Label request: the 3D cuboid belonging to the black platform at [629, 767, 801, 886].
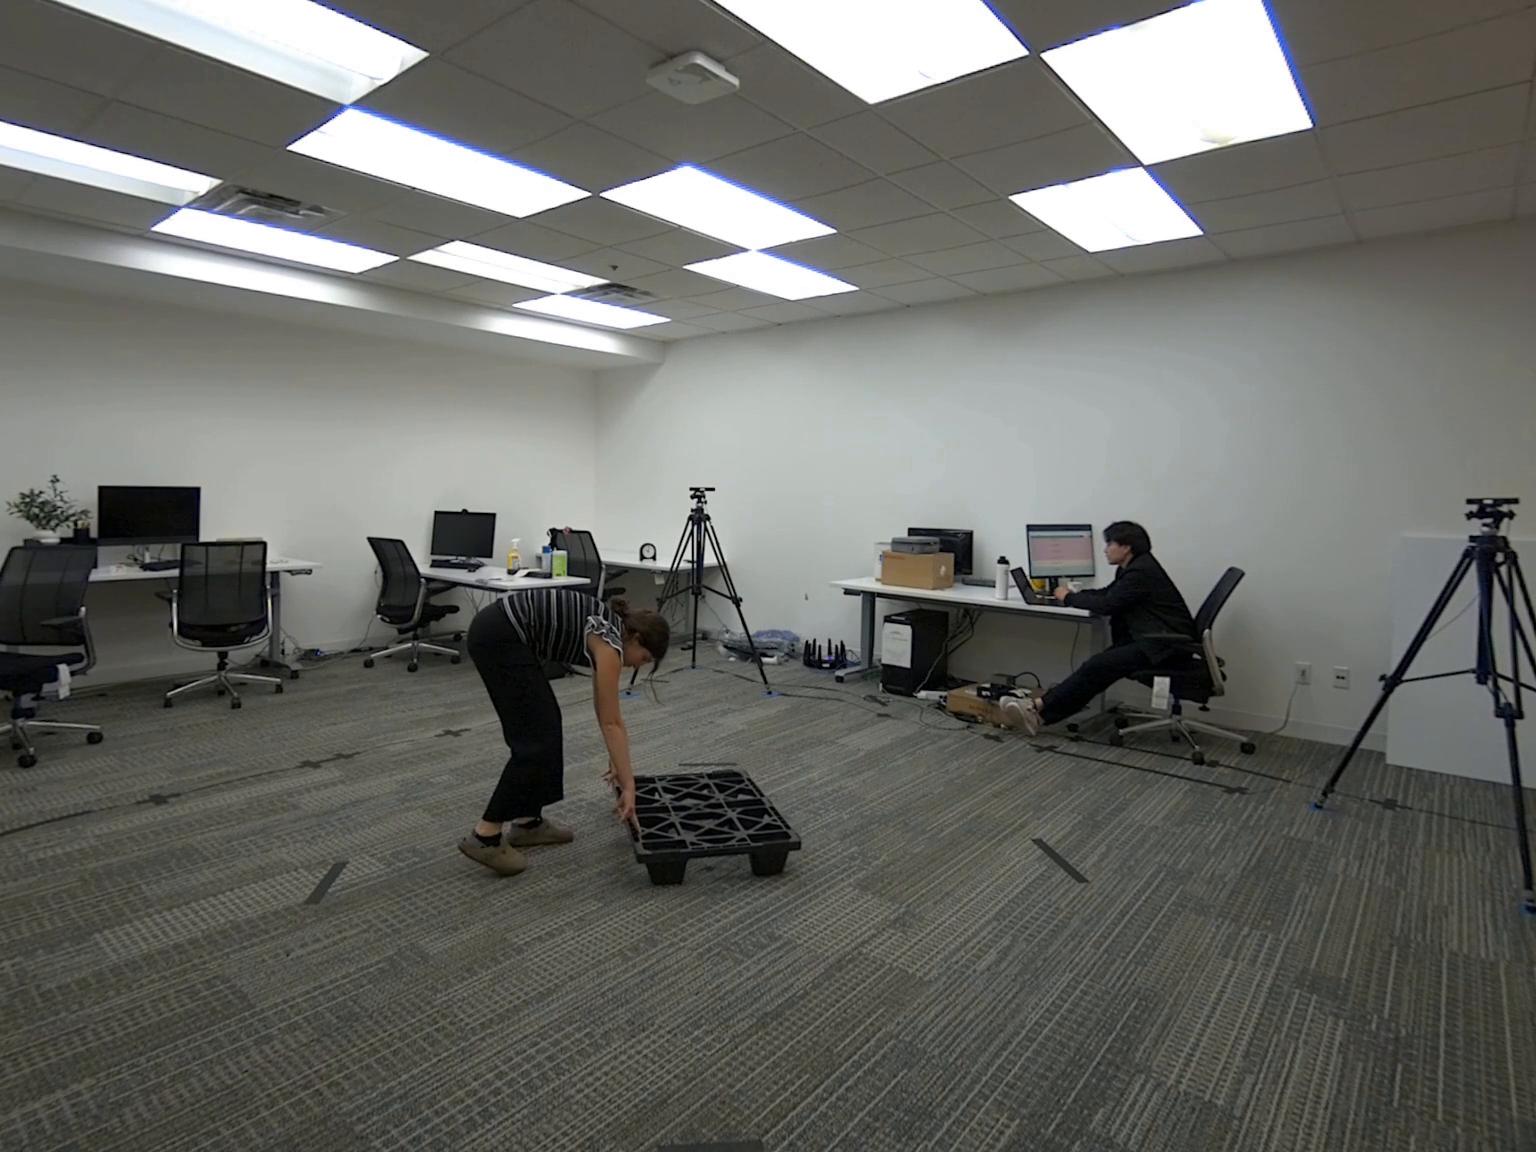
[{"bbox_3d":[-0.286,0.970,3.368,0.596,0.143,0.821,0,6,-15],"label":"black platform"}]
